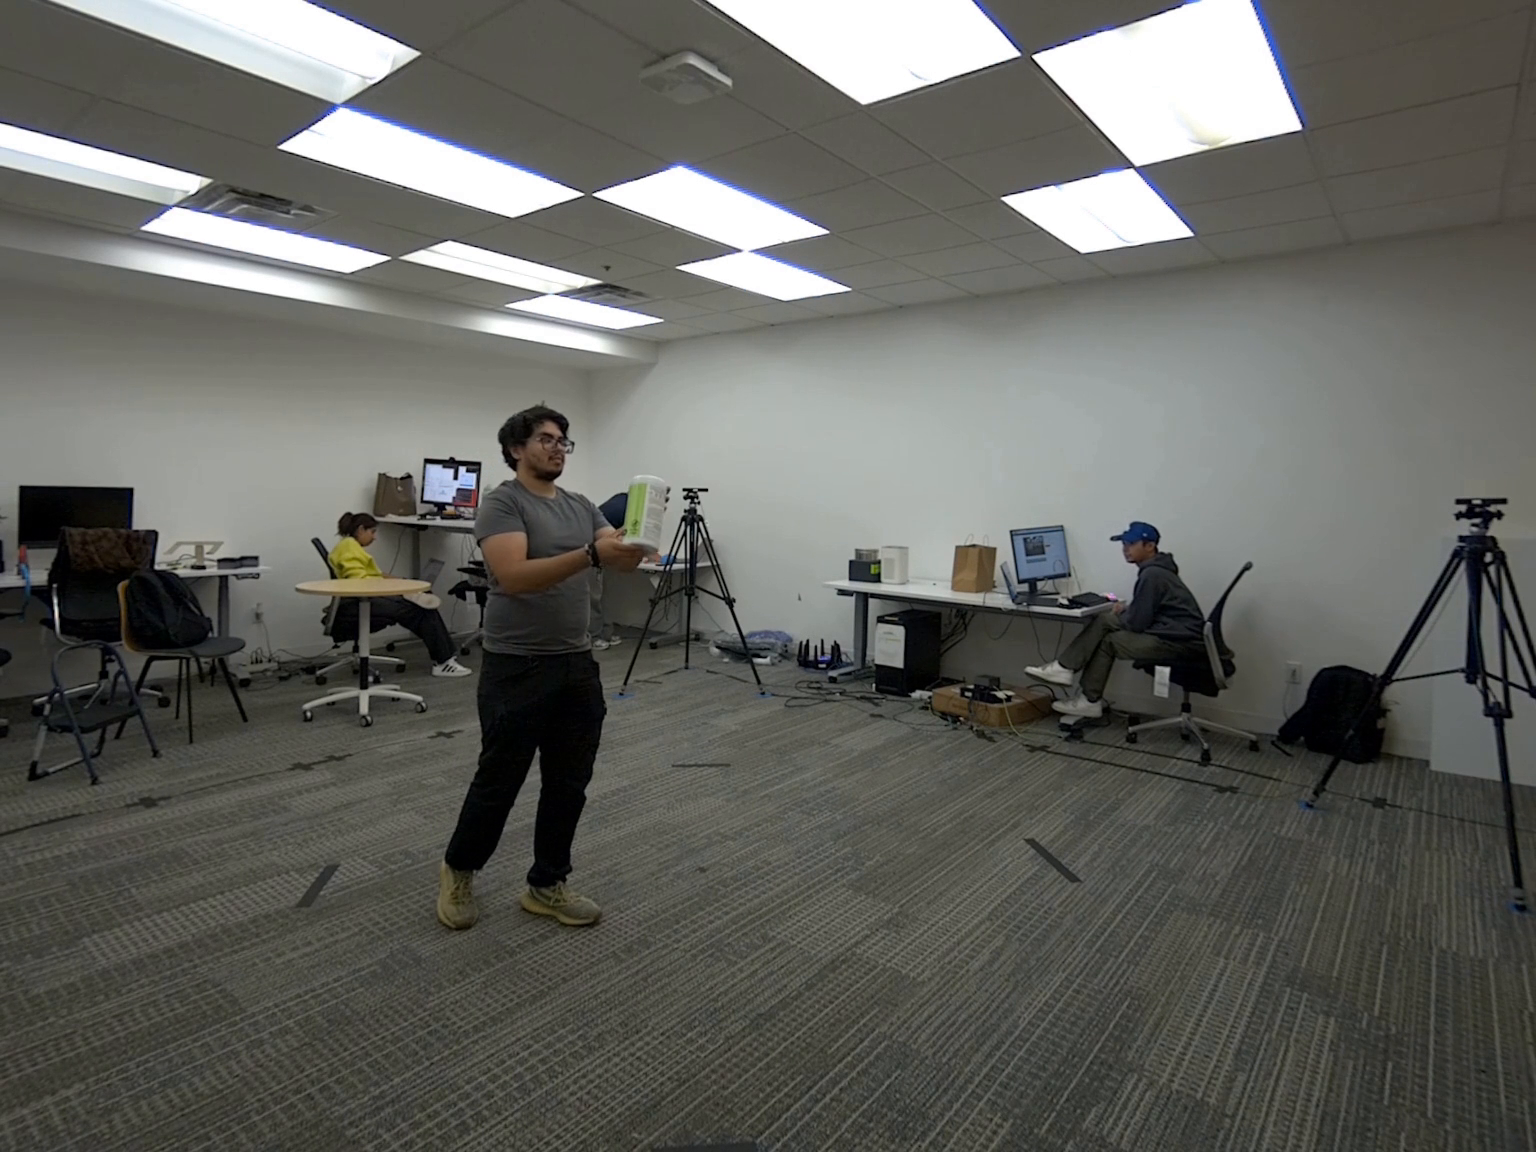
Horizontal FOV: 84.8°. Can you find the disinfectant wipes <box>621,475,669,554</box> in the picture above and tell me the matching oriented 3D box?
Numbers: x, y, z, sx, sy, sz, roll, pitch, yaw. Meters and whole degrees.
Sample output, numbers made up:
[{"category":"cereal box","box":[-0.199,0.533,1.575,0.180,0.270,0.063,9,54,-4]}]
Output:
[{"category":"disinfectant wipes","box":[-0.373,-0.181,2.497,0.118,0.220,0.116,7,-17,0]}]
